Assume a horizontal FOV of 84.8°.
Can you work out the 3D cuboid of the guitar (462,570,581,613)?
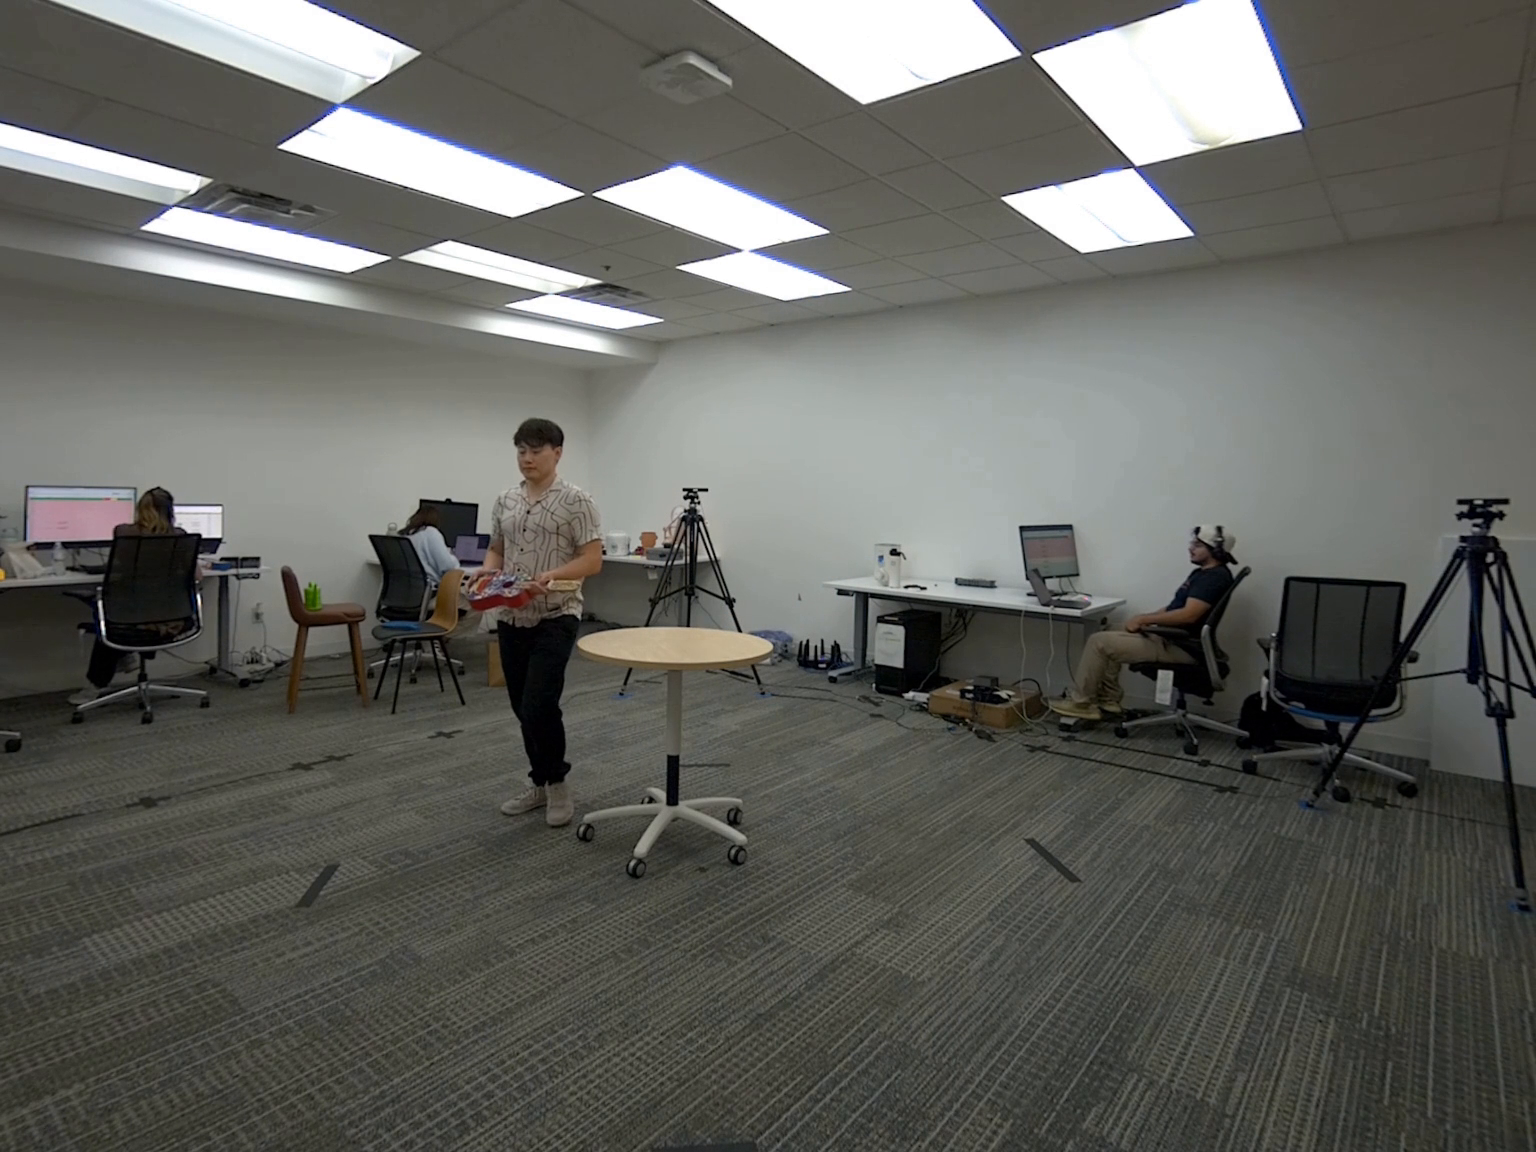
[{"bbox_3d":[-0.983,0.068,3.322,0.512,0.068,0.194,6,40,28],"label":"guitar"}]
